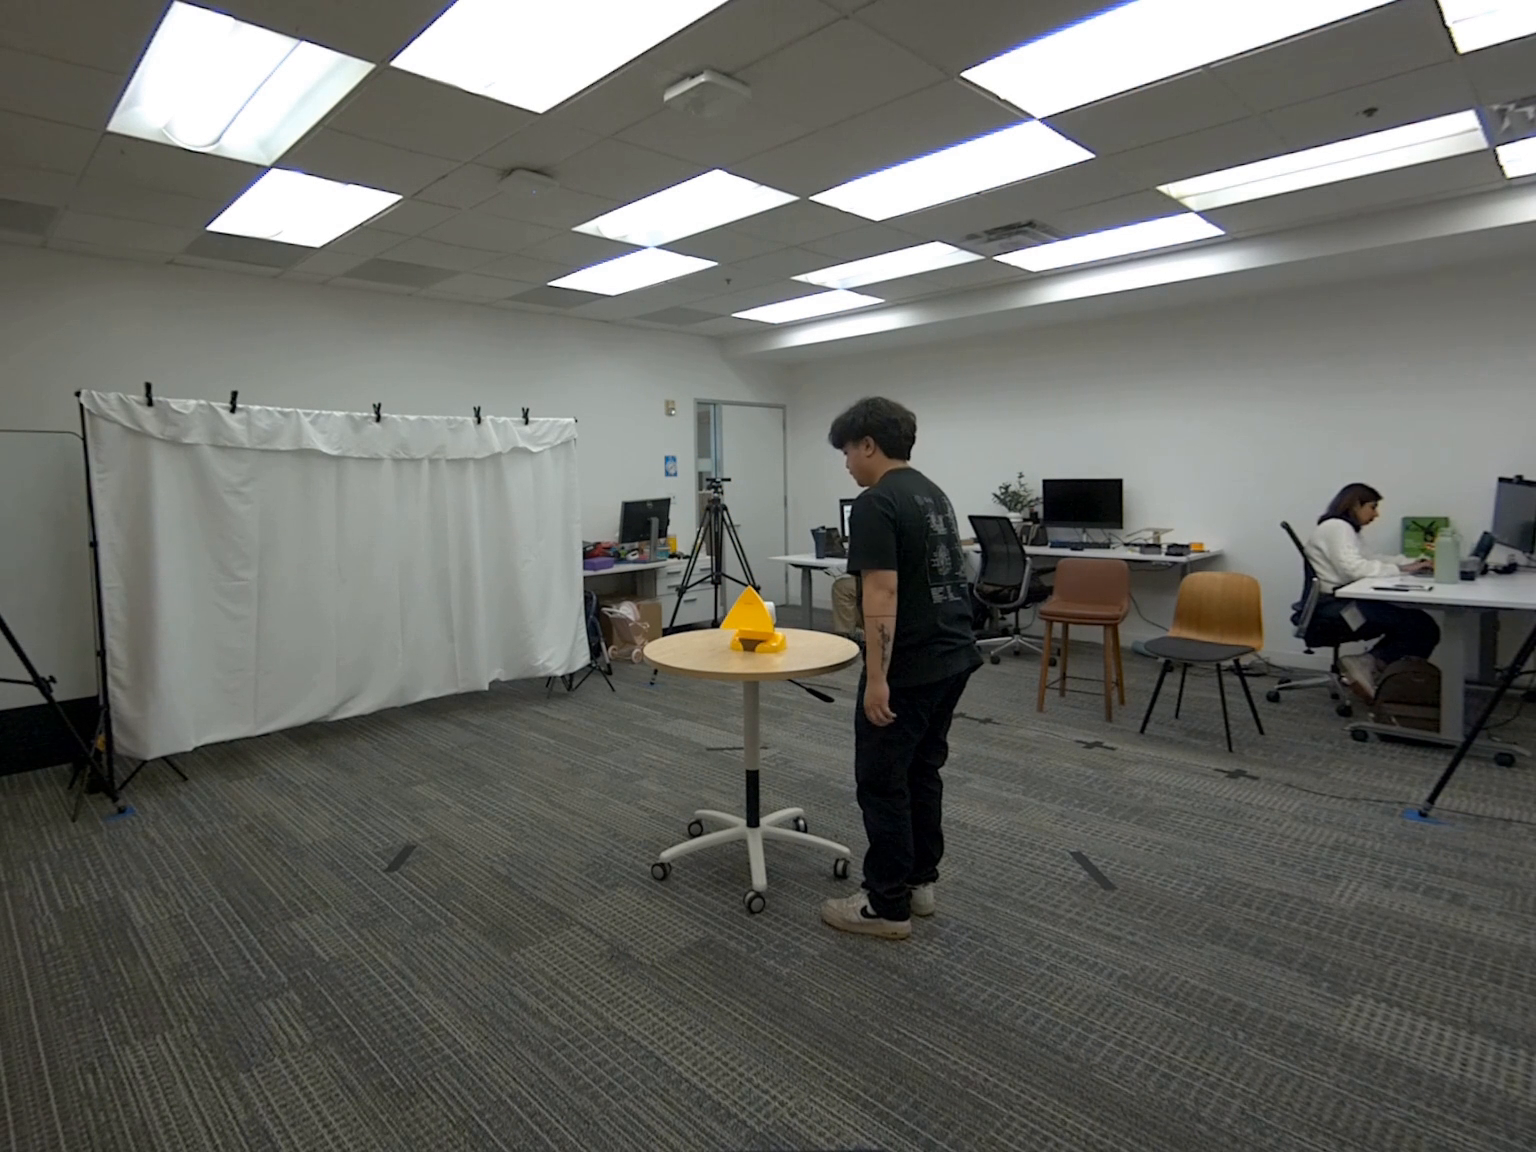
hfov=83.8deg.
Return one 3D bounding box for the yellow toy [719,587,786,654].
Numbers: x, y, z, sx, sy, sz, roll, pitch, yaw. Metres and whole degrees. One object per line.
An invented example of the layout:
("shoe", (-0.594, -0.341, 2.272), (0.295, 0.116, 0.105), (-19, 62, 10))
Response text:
("yellow toy", (-0.038, 0.144, 3.034), (0.210, 0.230, 0.189), (1, 5, 27))
